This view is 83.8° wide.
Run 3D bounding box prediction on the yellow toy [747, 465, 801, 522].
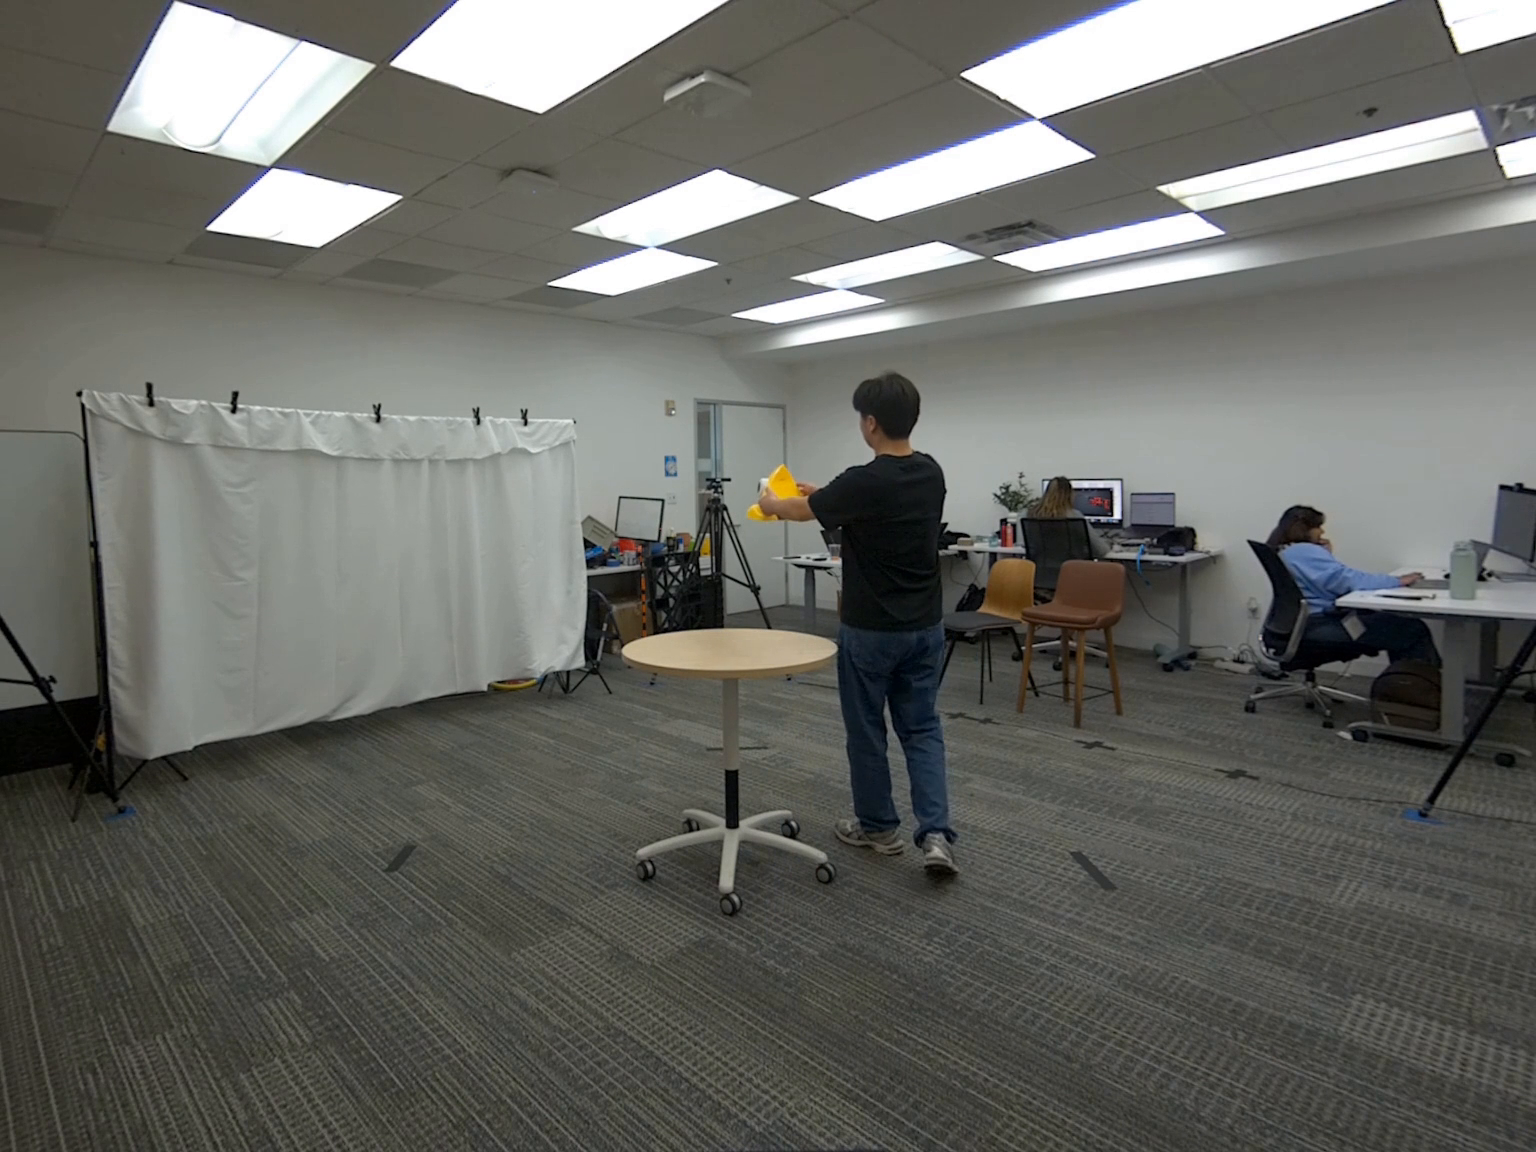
[{"bbox_3d":[0.026,-0.355,3.554,0.200,0.228,0.200,-5,13,-35],"label":"yellow toy"}]
